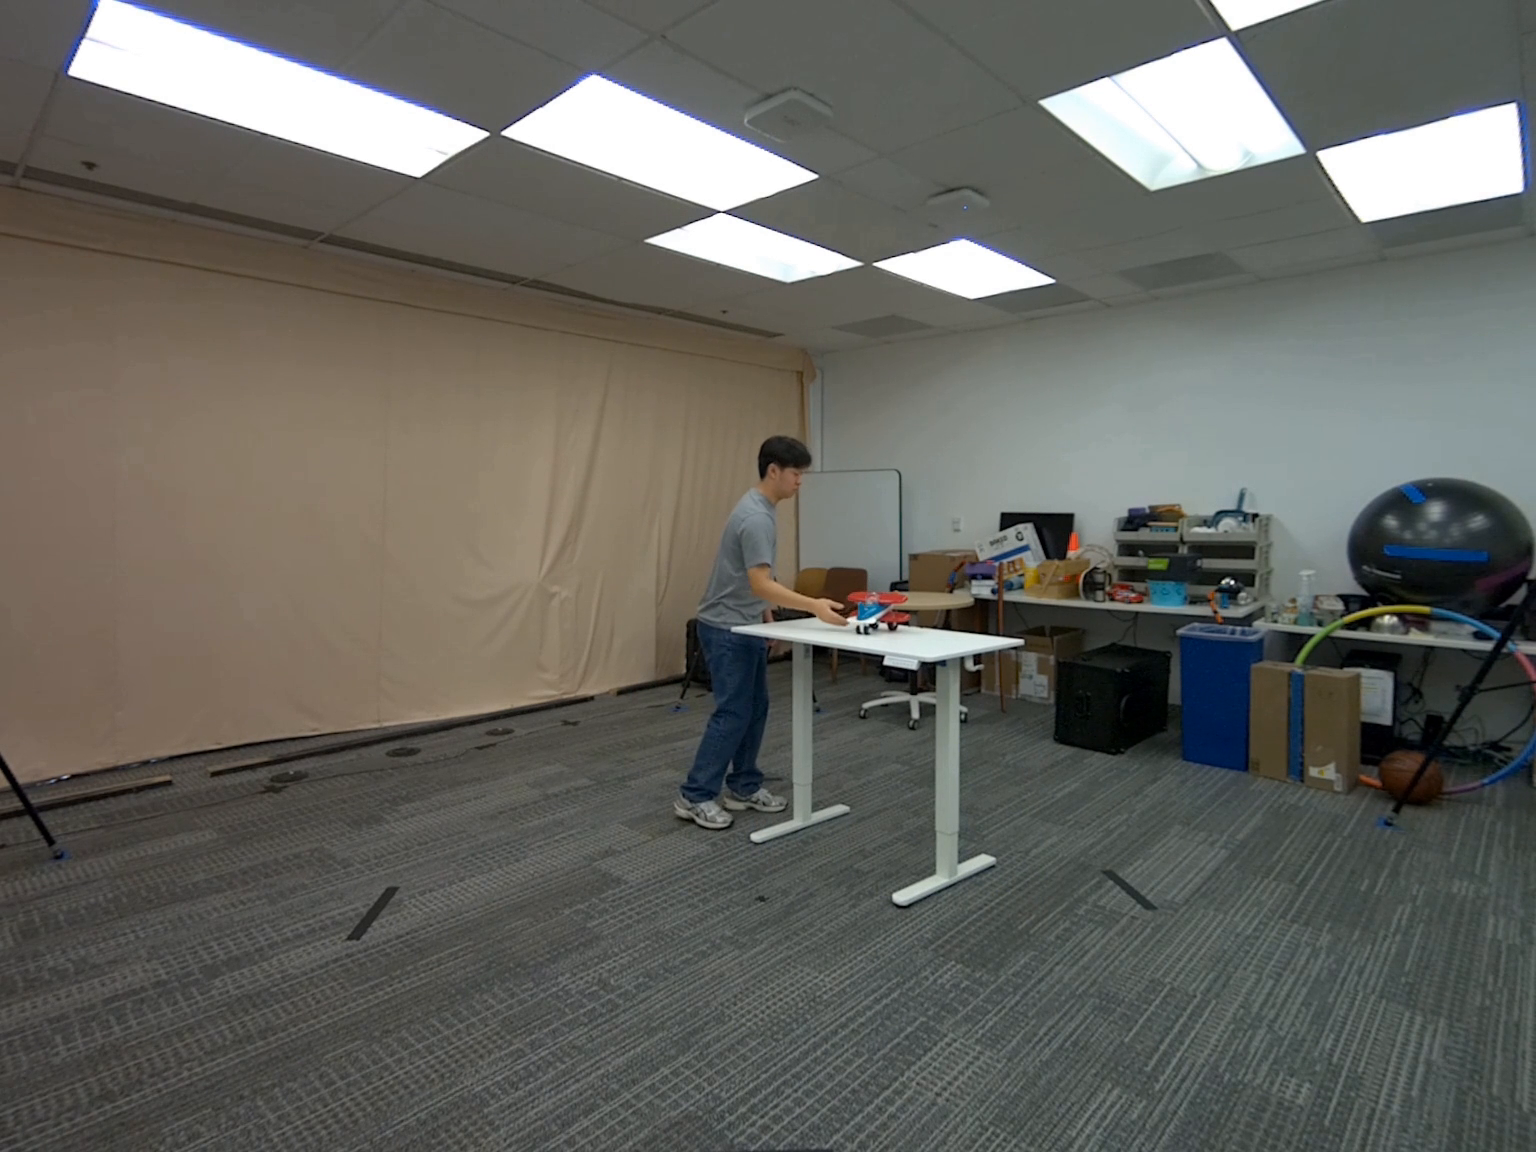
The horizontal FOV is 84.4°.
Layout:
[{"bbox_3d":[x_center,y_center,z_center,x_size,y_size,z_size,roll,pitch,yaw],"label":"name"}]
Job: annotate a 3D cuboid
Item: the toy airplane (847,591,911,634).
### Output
[{"bbox_3d":[0.448,0.150,3.387,0.253,0.156,0.257,0,2,7],"label":"toy airplane"}]
